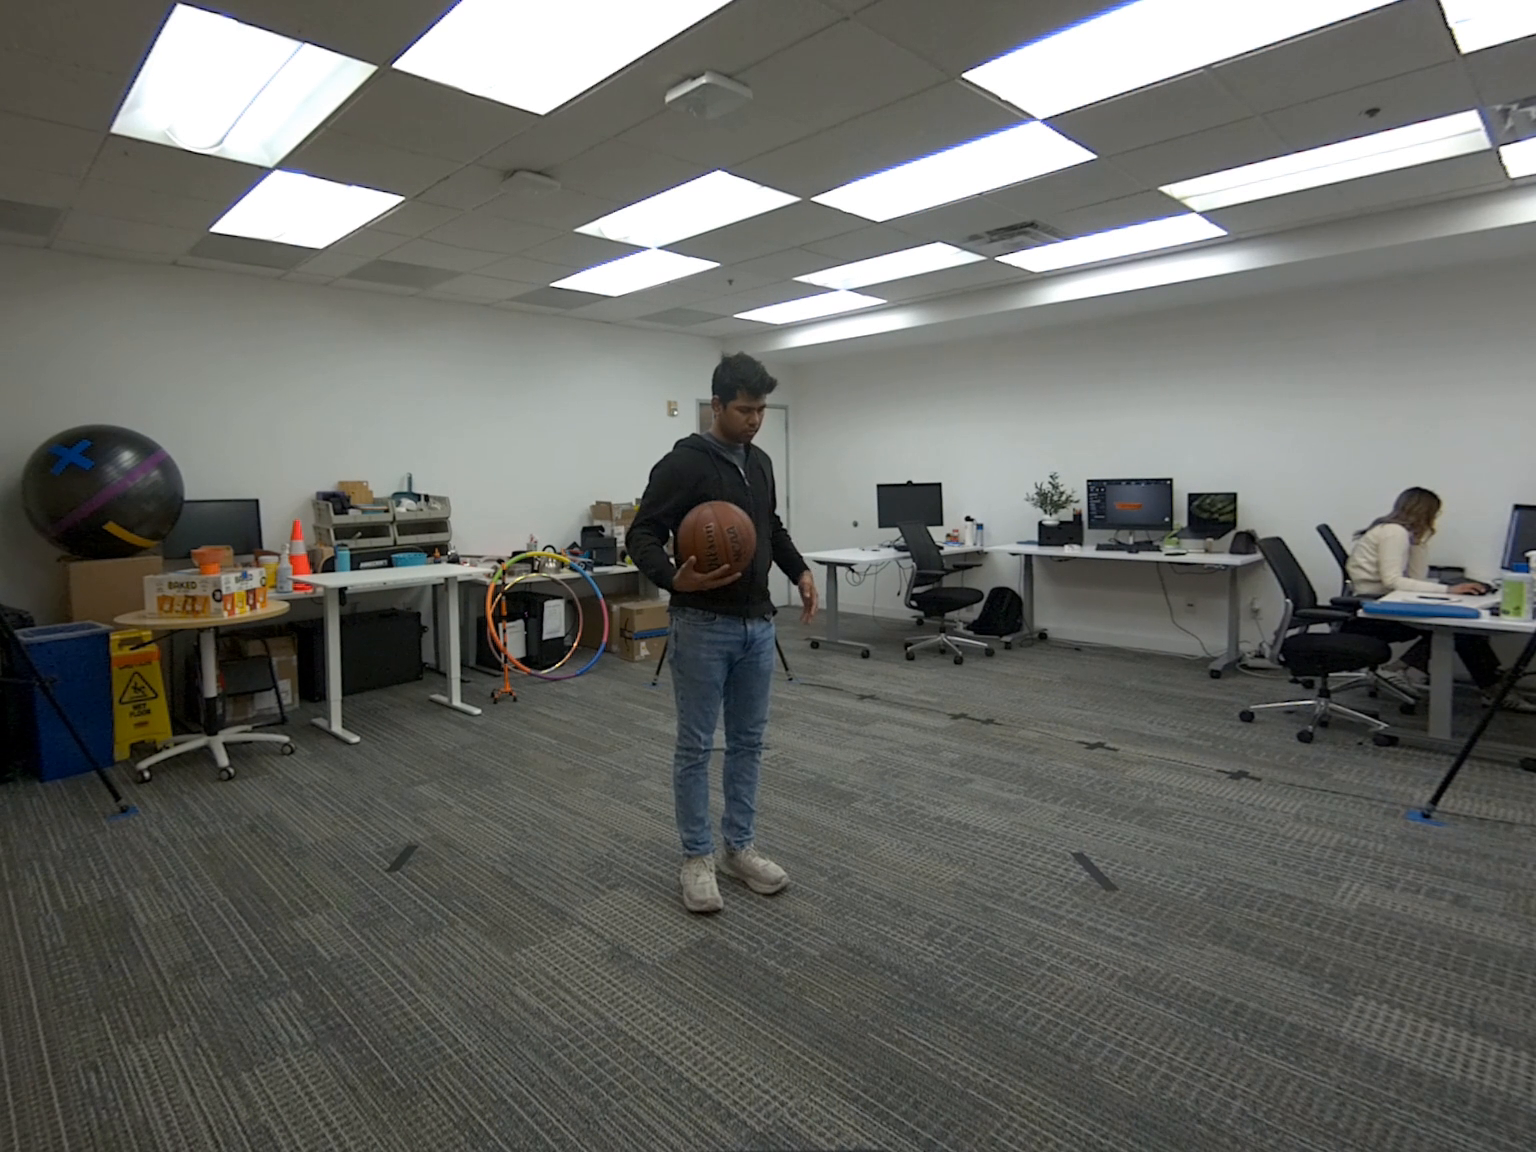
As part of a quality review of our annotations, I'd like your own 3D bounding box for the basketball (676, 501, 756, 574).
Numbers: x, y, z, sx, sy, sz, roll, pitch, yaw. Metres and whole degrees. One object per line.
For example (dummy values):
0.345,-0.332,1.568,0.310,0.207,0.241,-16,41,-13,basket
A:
-0.159,-0.109,2.604,0.236,0.235,0.237,-1,5,-2,basketball
